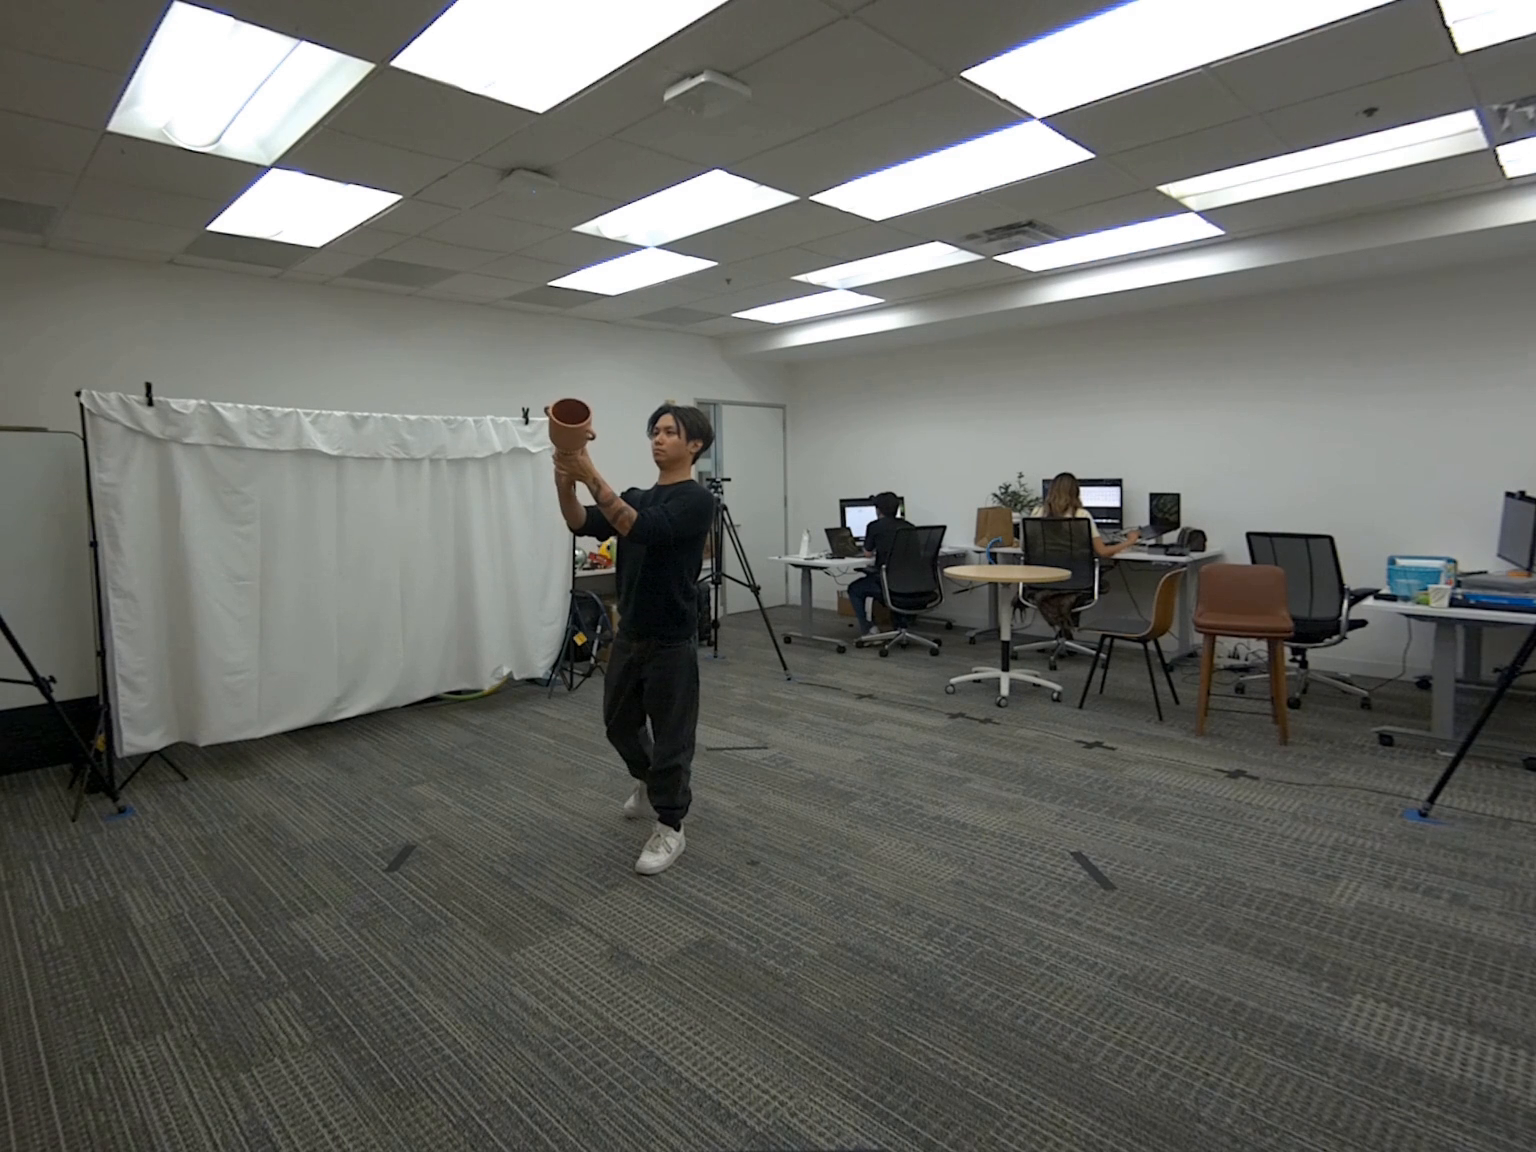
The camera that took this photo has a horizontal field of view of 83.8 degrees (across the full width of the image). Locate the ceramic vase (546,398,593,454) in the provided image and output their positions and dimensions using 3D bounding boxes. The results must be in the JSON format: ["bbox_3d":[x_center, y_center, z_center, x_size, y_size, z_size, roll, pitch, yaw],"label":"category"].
[{"bbox_3d":[-0.640,-0.454,2.749,0.132,0.164,0.216,-11,-34,-22],"label":"ceramic vase"}]
